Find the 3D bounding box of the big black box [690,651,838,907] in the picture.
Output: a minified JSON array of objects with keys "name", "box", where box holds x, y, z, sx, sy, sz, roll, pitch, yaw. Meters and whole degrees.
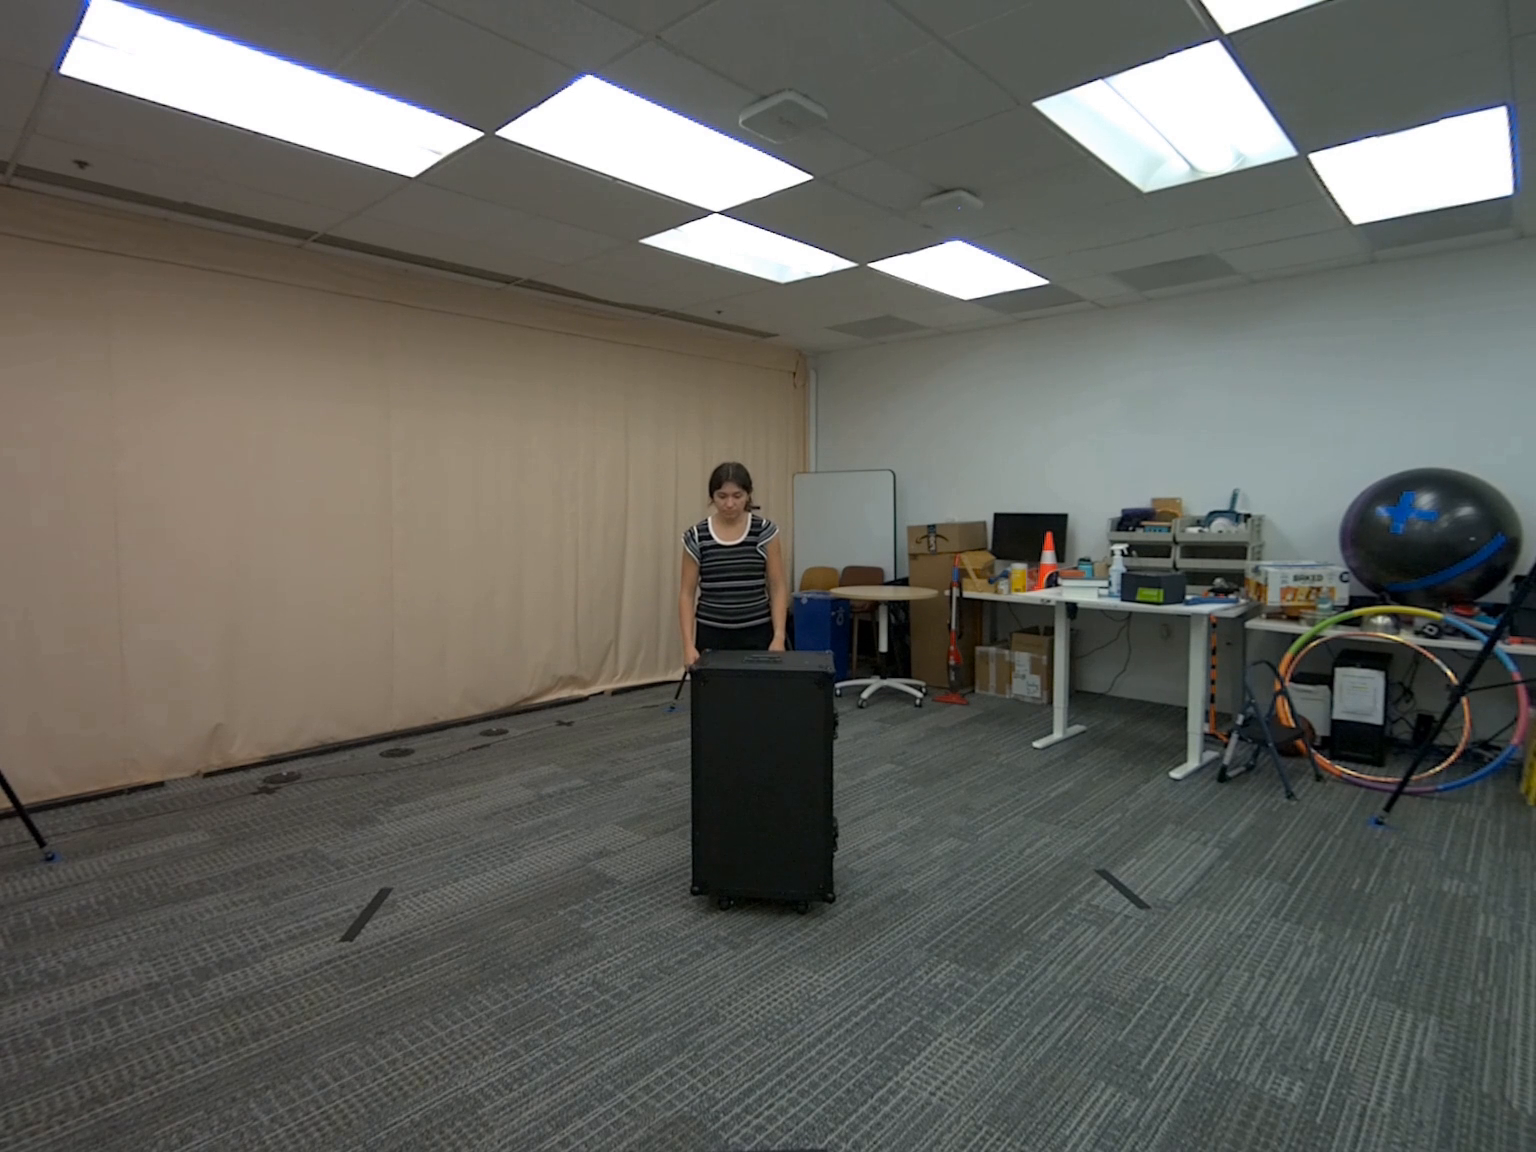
[{"name":"big black box","box":[-0.010,0.714,3.002,0.526,0.860,0.394,-1,3,7]}]
